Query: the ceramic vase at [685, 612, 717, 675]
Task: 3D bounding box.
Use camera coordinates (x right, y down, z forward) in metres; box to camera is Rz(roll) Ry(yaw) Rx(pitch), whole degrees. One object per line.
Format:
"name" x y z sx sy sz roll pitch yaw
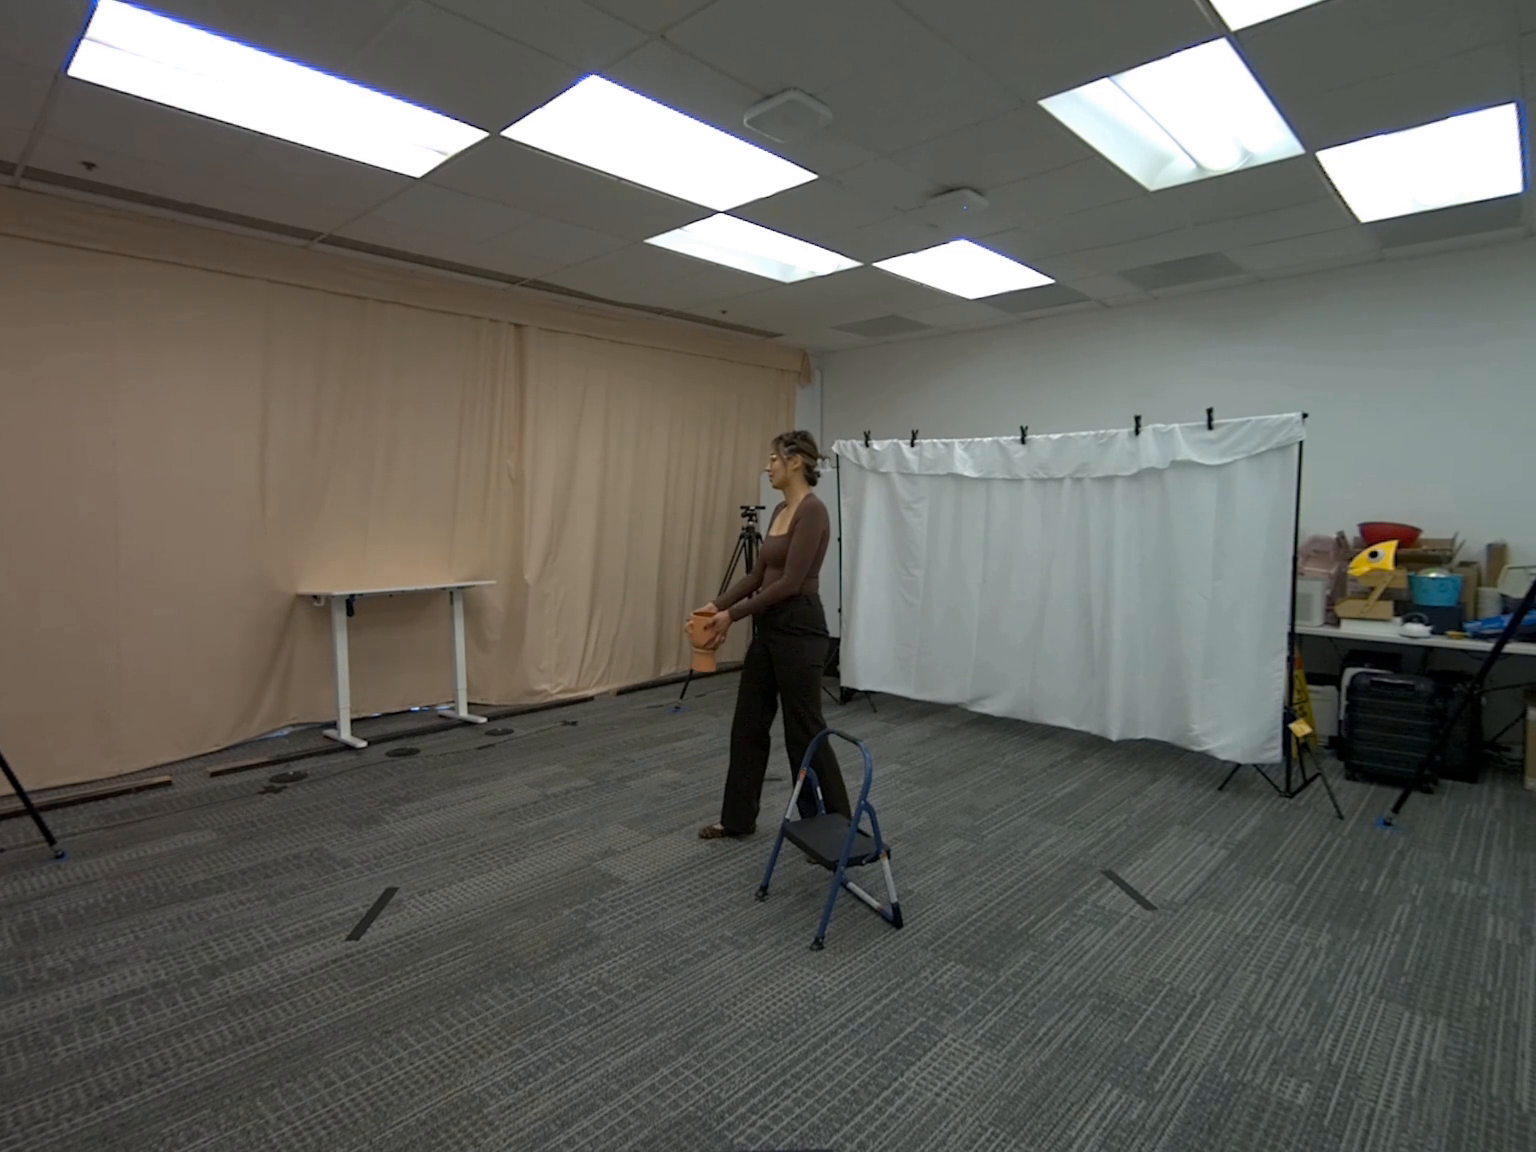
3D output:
"ceramic vase" -0.246 0.260 3.330 0.160 0.219 0.133 3 5 9
